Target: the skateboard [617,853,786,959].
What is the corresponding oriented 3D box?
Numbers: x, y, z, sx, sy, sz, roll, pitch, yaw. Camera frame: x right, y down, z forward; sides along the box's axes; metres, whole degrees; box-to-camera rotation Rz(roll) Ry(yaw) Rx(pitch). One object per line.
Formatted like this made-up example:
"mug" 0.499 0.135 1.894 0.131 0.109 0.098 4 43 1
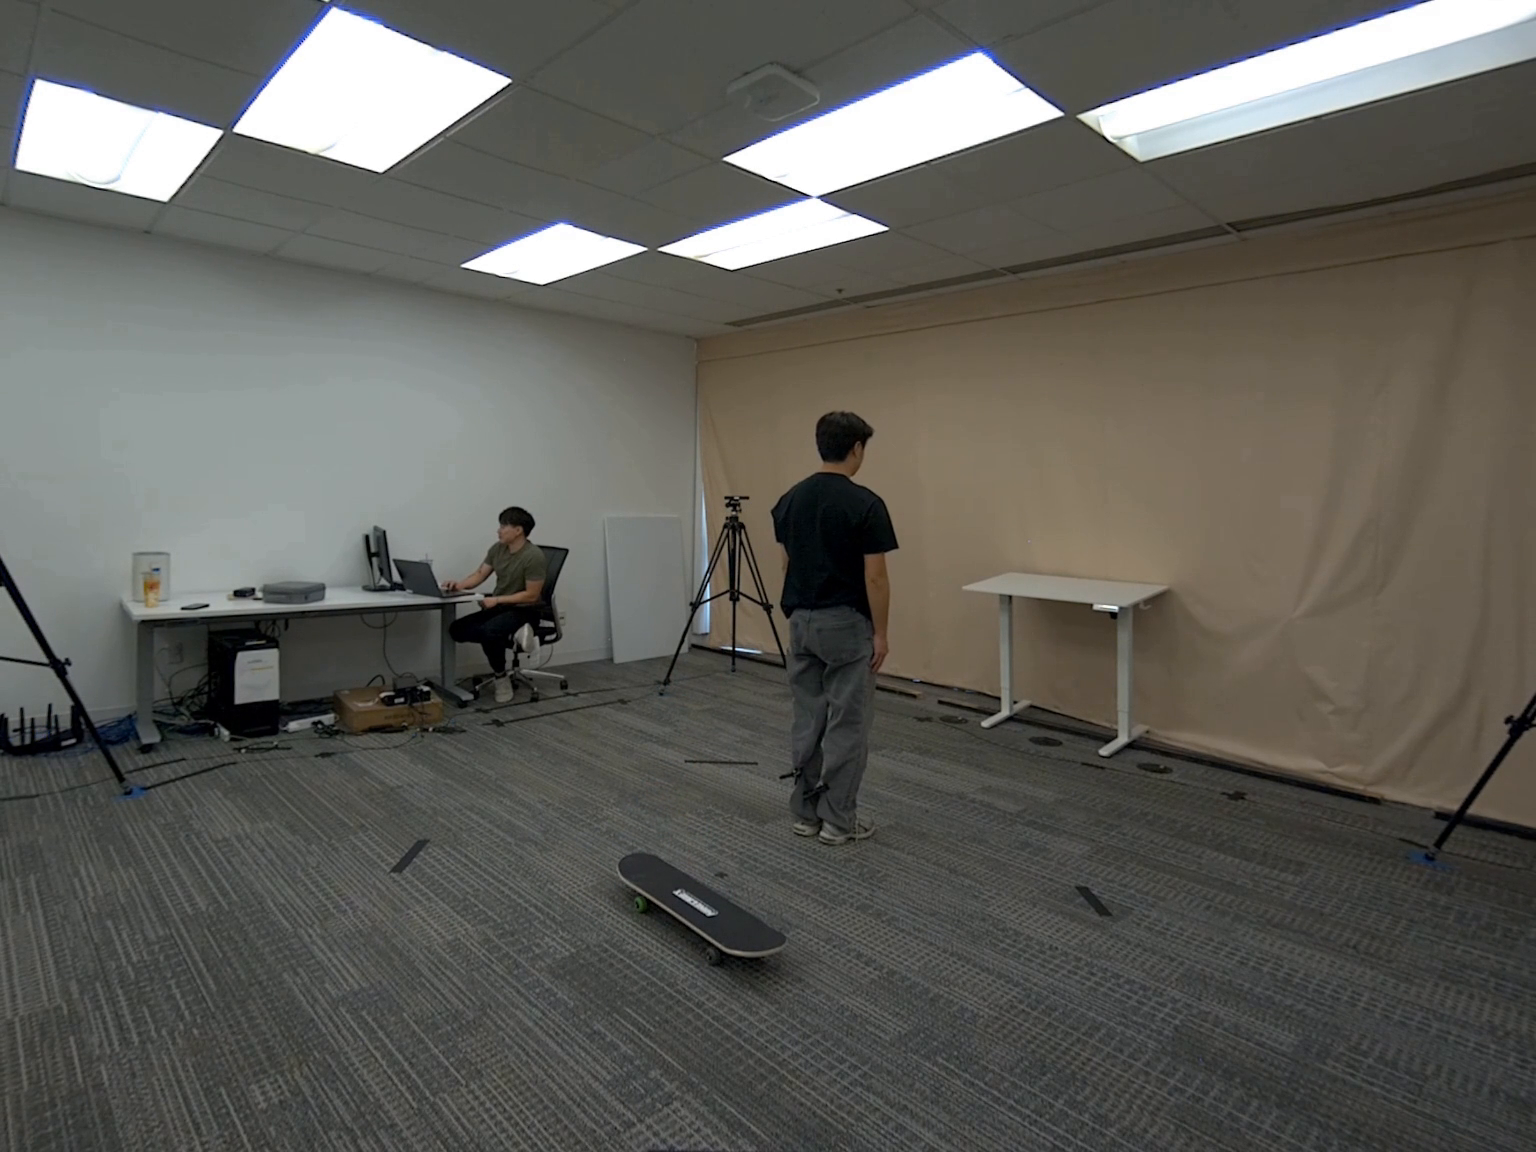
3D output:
"skateboard" -0.244 1.083 2.709 0.189 0.110 0.806 -2 6 -40
